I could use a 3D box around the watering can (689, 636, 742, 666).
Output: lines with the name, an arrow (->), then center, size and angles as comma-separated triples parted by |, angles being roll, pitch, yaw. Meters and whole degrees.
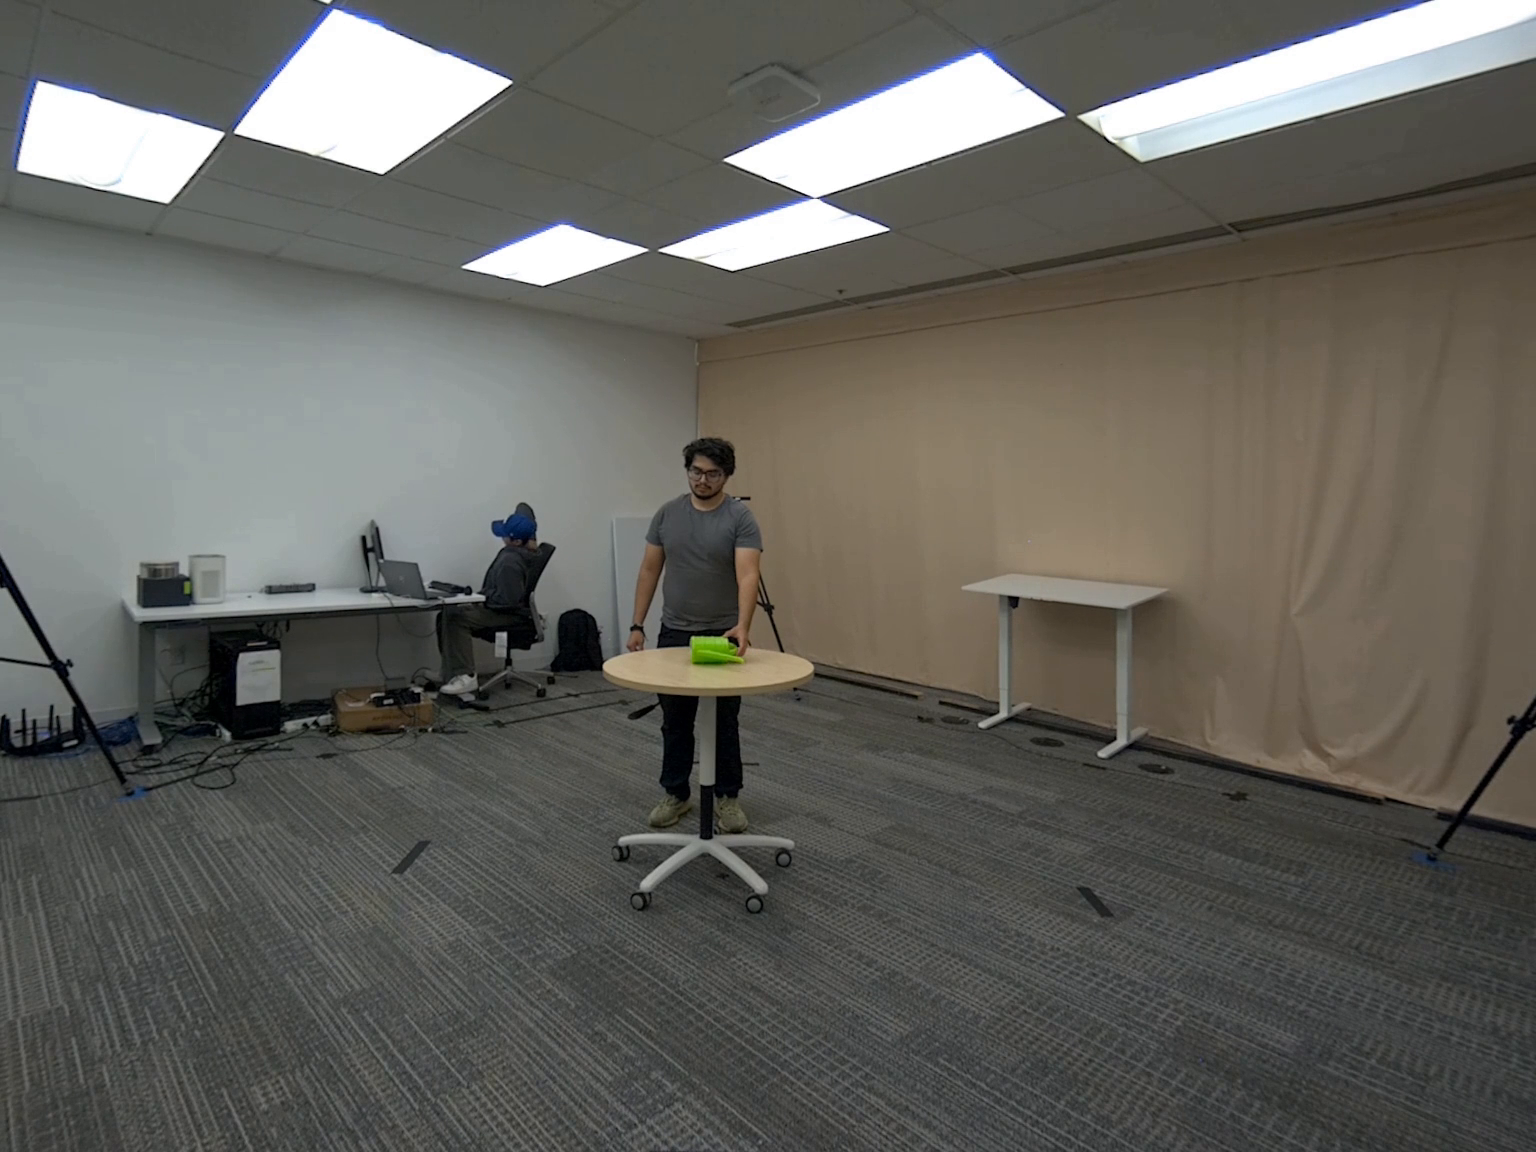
watering can -> -0.208, 0.269, 3.074 | 0.176, 0.098, 0.279 | -2, -1, -8
